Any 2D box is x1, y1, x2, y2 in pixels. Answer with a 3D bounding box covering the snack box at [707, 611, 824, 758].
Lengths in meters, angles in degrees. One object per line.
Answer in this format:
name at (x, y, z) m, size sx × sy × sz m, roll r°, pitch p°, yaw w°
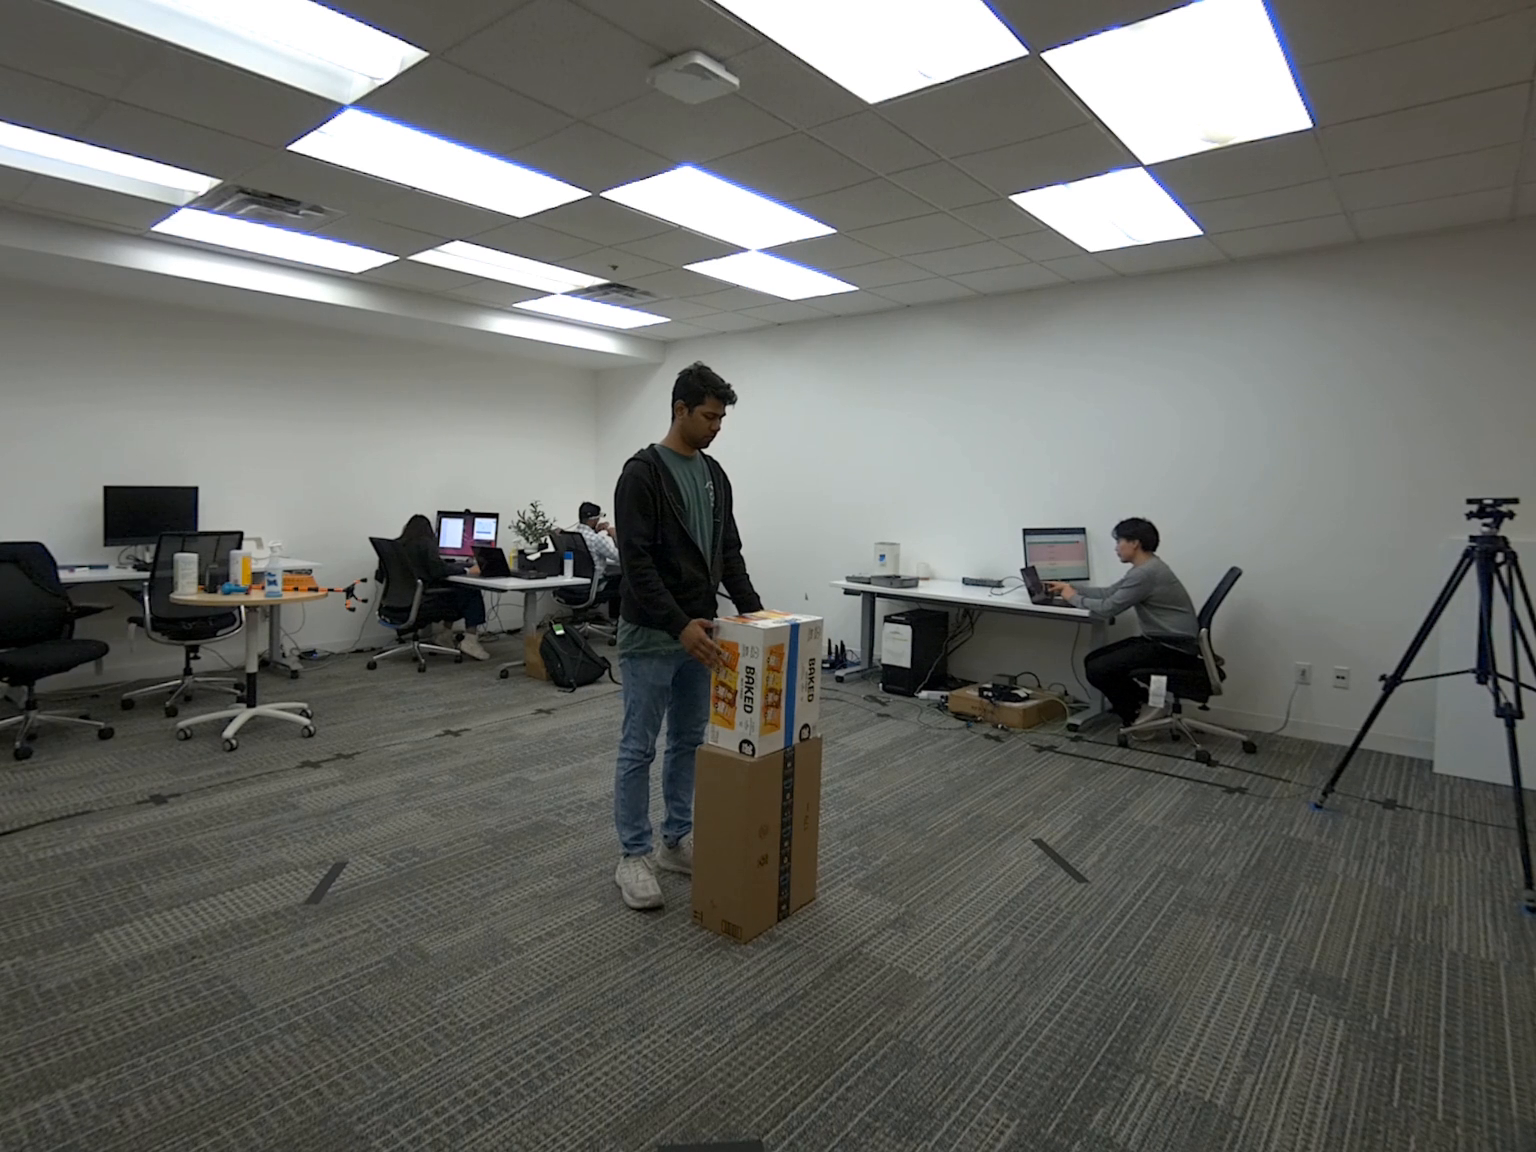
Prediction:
snack box at (-0.013, 0.334, 2.777) m, size 0.213 × 0.403 × 0.330 m, roll 6°, pitch 6°, yaw 38°
